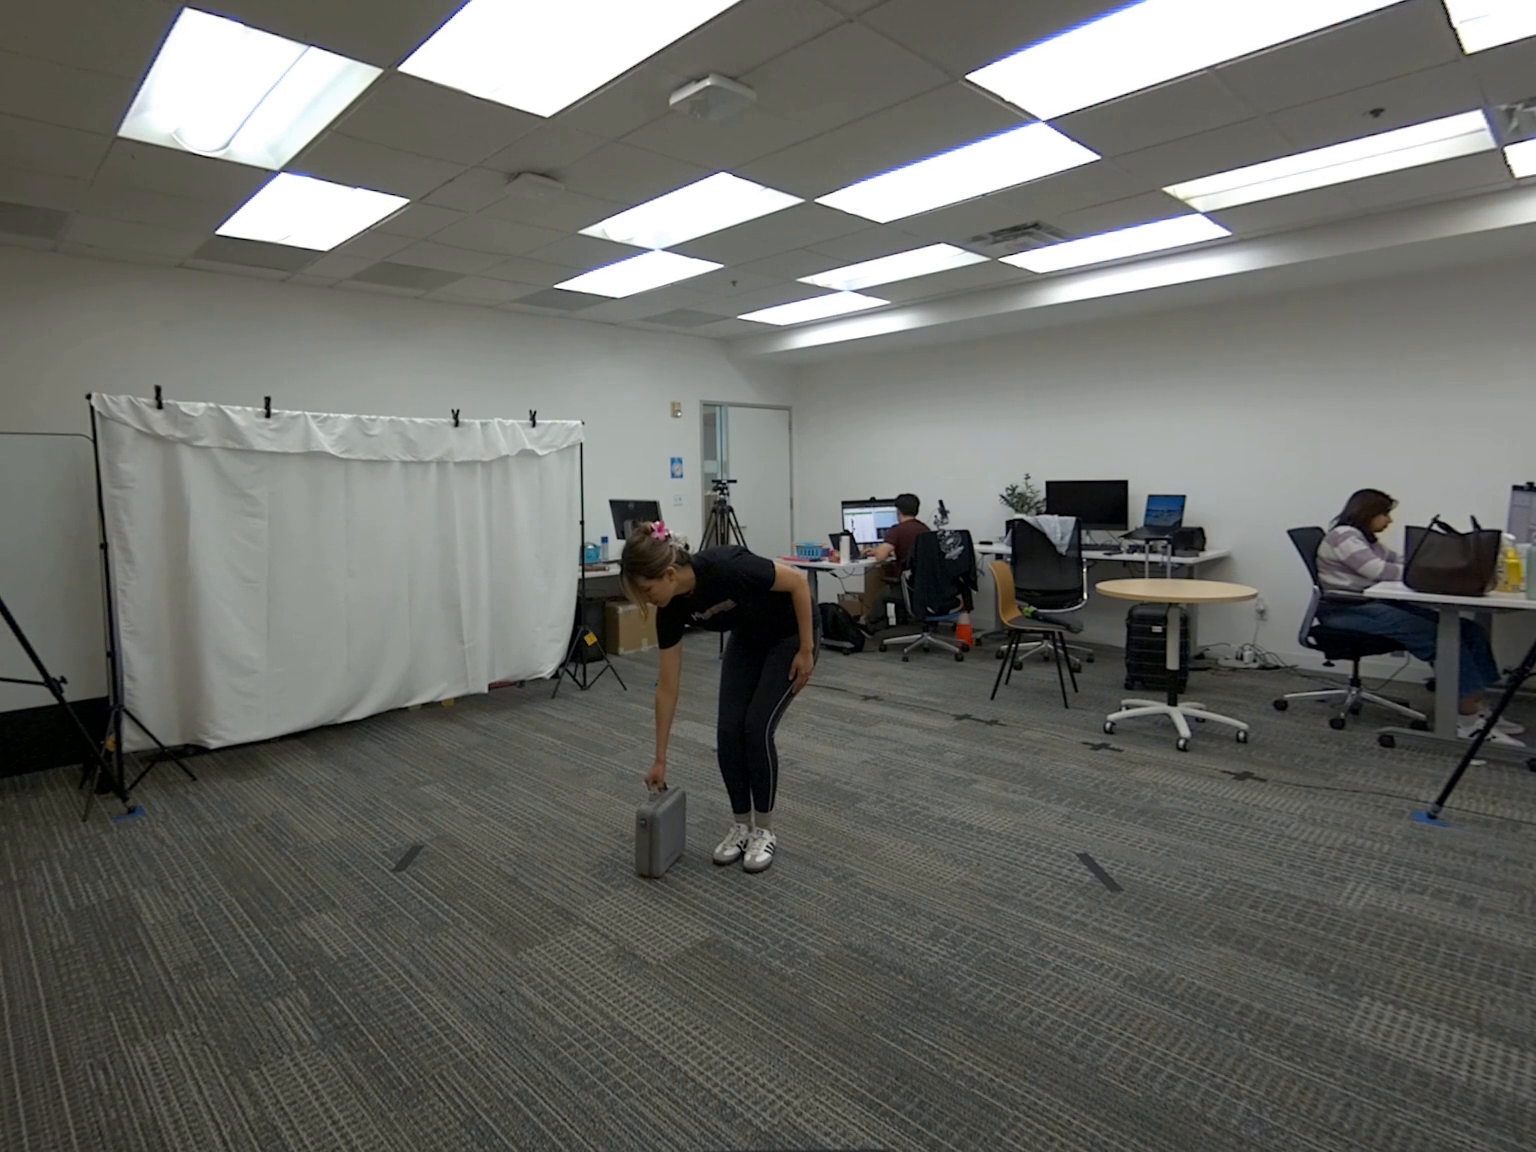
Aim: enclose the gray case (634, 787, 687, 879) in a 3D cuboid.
[{"bbox_3d":[-0.385,0.918,3.101,0.106,0.259,0.253,2,6,18],"label":"gray case"}]
